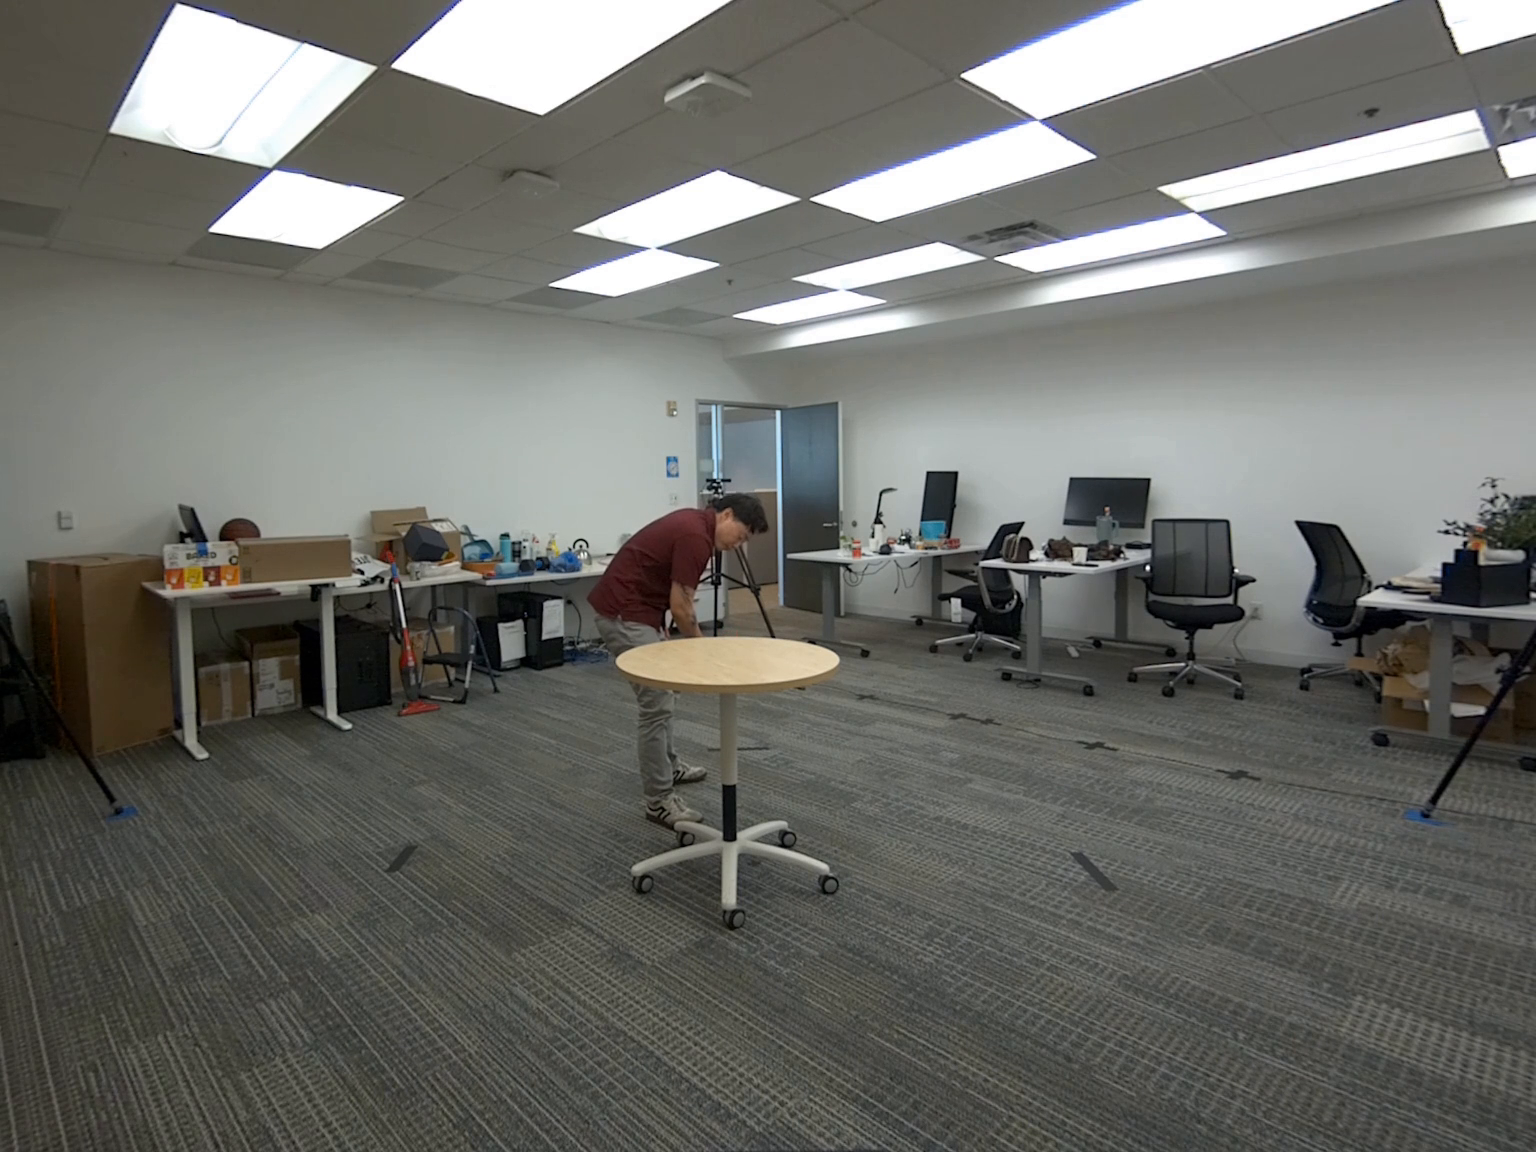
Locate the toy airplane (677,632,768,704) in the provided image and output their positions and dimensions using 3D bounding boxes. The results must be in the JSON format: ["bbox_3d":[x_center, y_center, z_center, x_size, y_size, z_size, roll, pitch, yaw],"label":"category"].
[{"bbox_3d":[-0.201,0.391,3.722,0.252,0.155,0.261,-1,34,-44],"label":"toy airplane"}]
